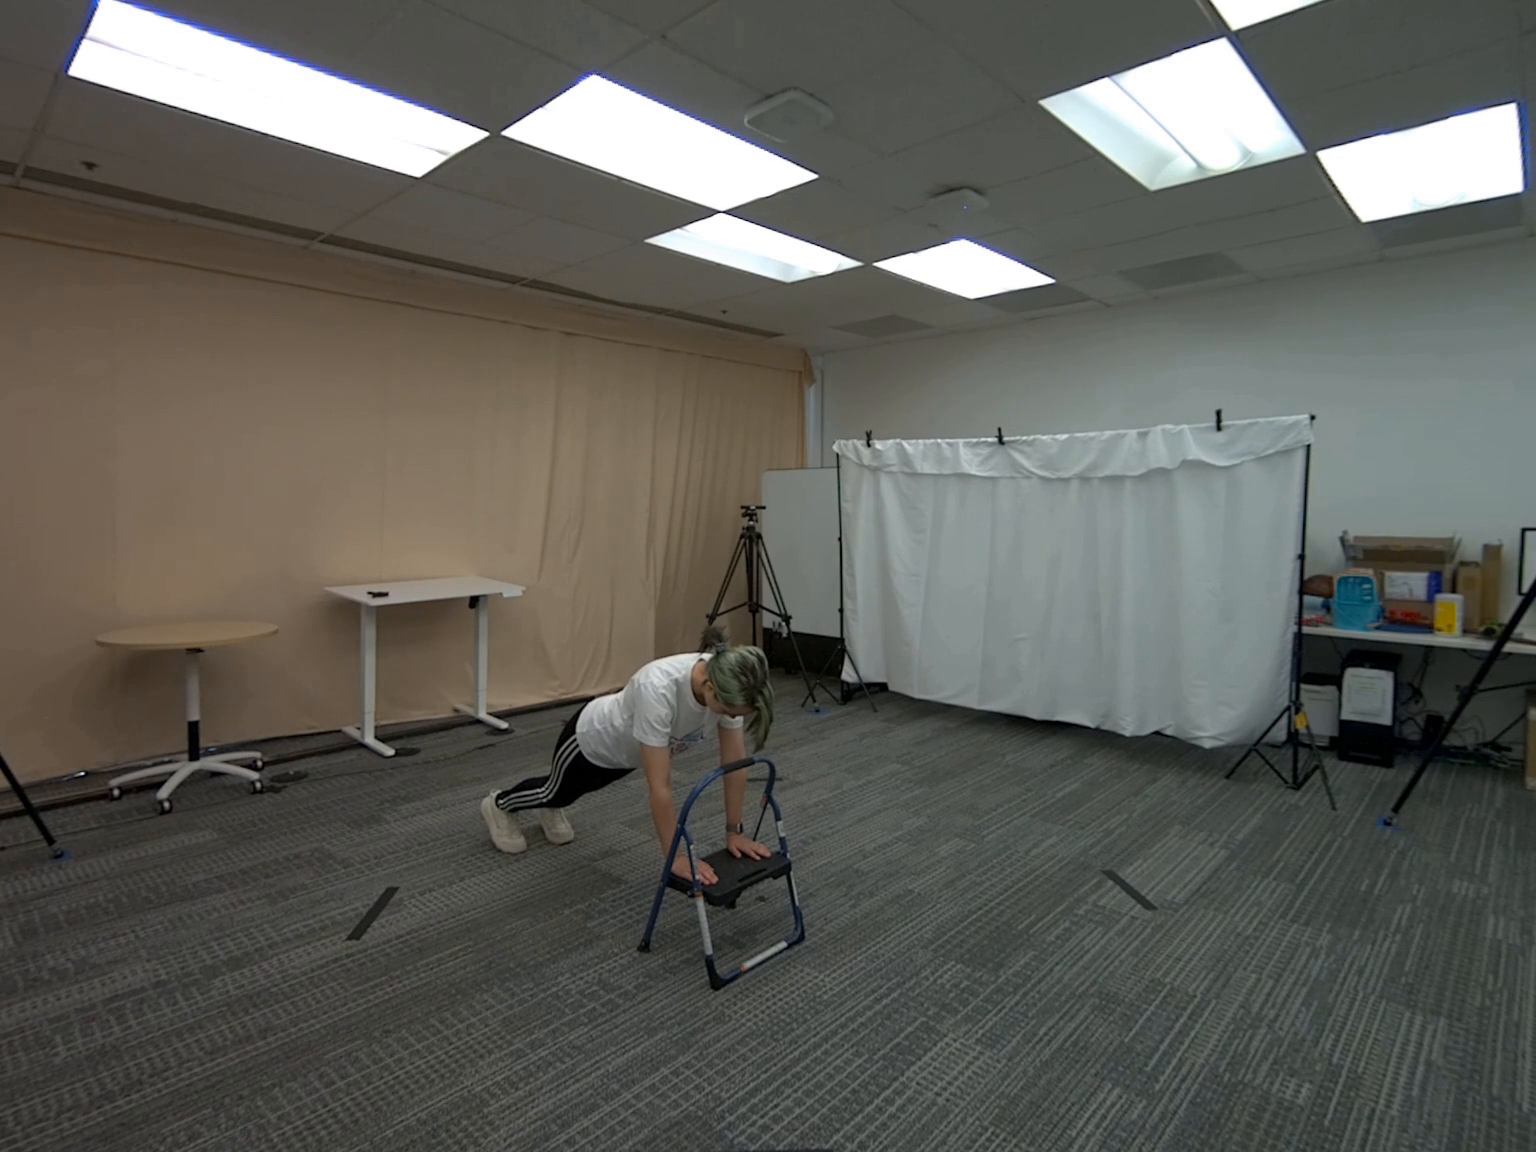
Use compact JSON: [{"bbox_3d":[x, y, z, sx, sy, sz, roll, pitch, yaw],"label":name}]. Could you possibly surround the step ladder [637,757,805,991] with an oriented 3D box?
[{"bbox_3d":[-0.138,0.870,2.661,0.361,0.605,0.417,3,4,42],"label":"step ladder"}]
